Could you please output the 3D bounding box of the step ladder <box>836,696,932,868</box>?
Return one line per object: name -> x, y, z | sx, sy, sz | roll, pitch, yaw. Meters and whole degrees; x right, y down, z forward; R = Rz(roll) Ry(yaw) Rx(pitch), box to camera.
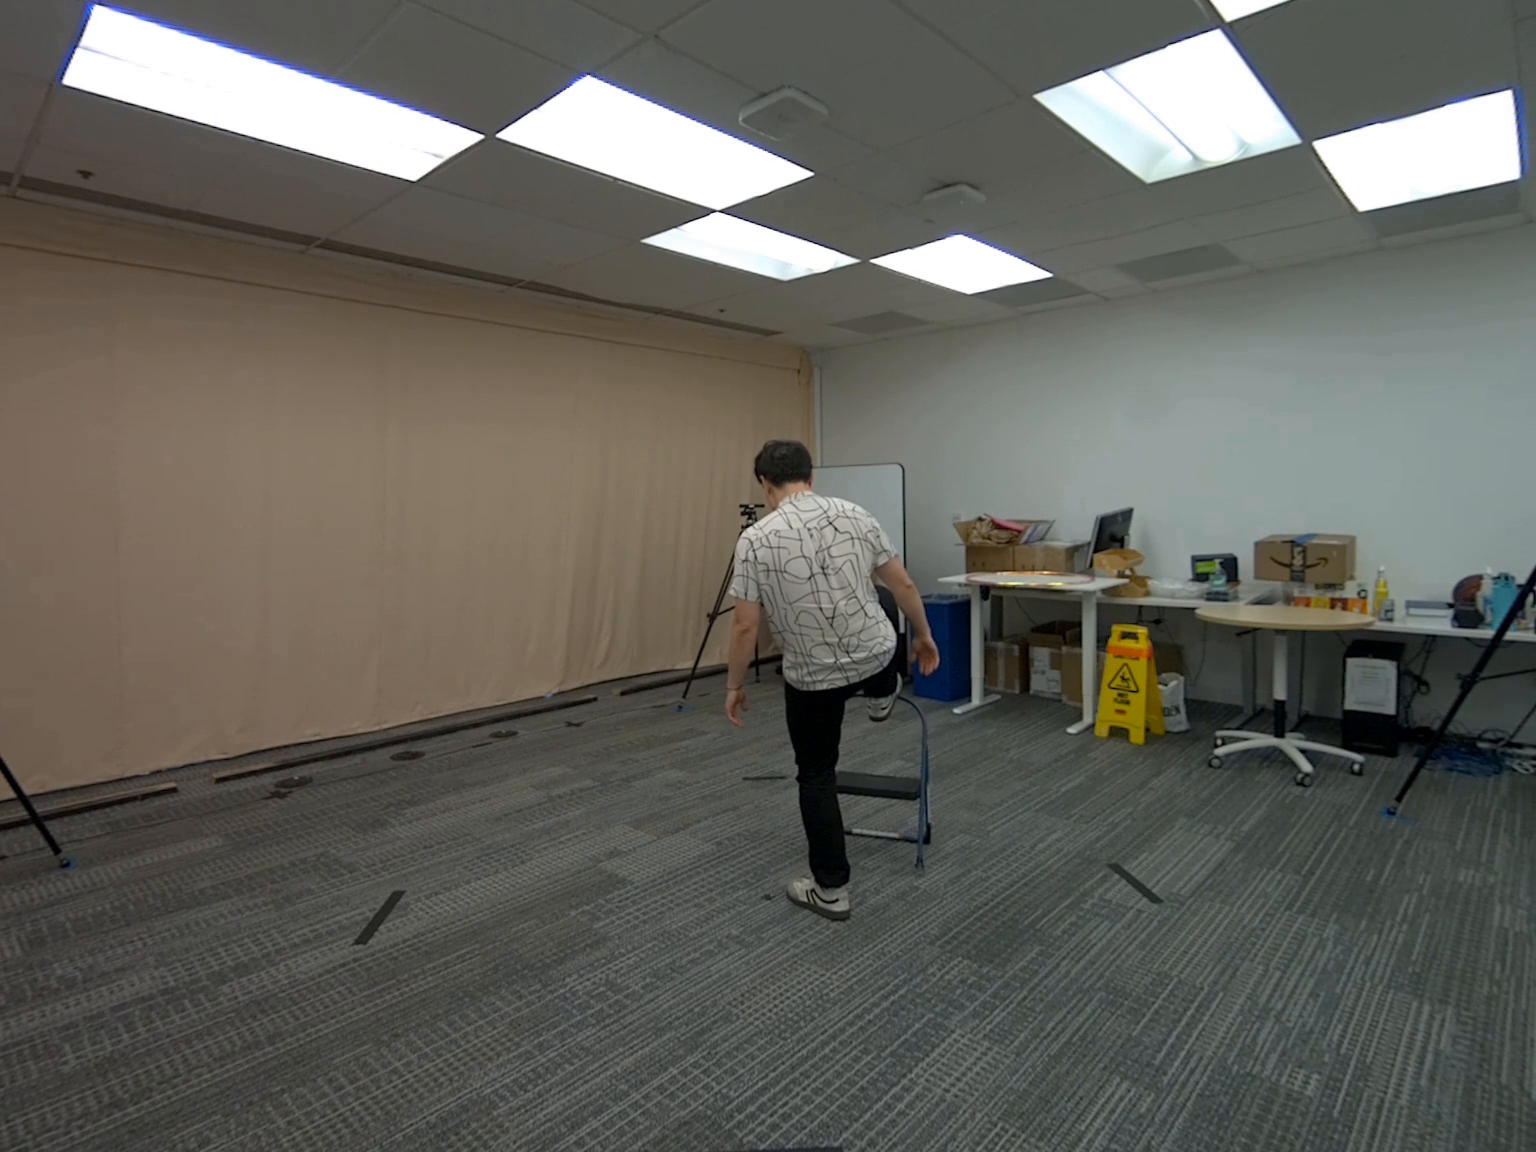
step ladder -> 0.432, 0.782, 3.364 | 0.439, 0.607, 0.342 | 0, -3, 18
